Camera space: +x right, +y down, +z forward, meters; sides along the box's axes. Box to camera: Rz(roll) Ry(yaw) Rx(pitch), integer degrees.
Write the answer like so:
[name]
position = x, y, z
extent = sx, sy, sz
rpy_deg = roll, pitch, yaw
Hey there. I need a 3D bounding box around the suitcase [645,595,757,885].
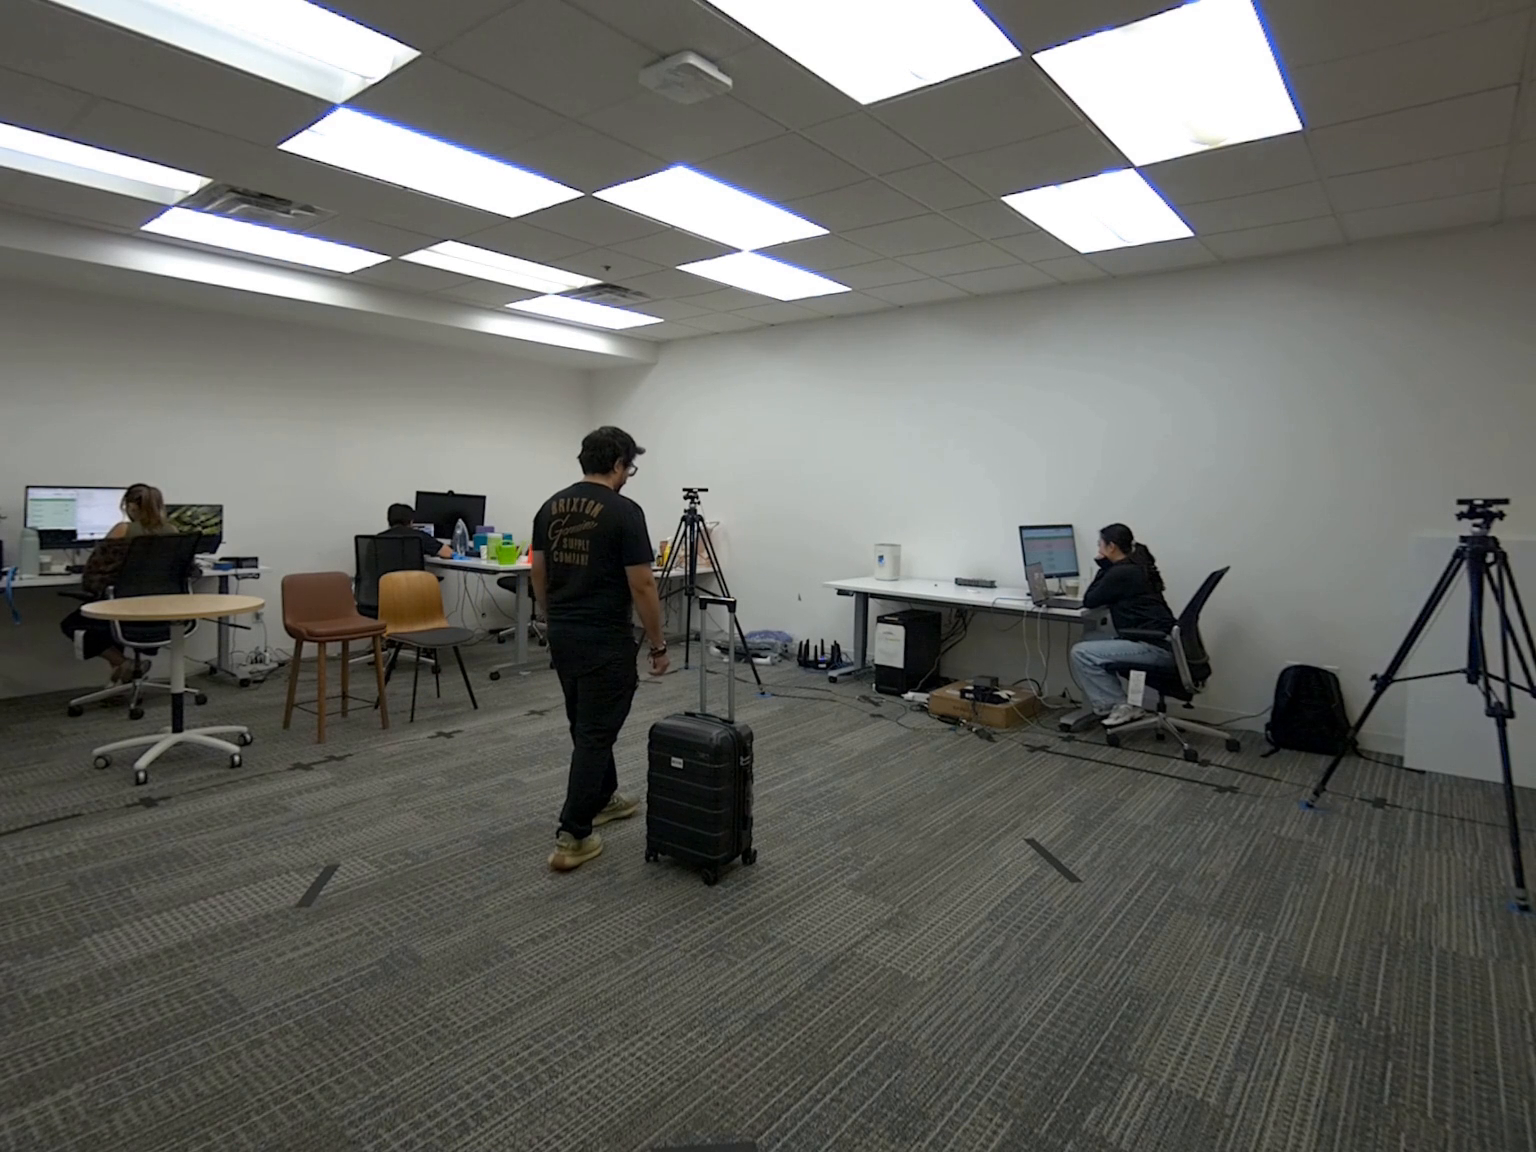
[suitcase]
position = -0.255, 0.588, 3.122
extent = 0.396, 0.974, 0.250
rpy_deg = 3, 5, 34
